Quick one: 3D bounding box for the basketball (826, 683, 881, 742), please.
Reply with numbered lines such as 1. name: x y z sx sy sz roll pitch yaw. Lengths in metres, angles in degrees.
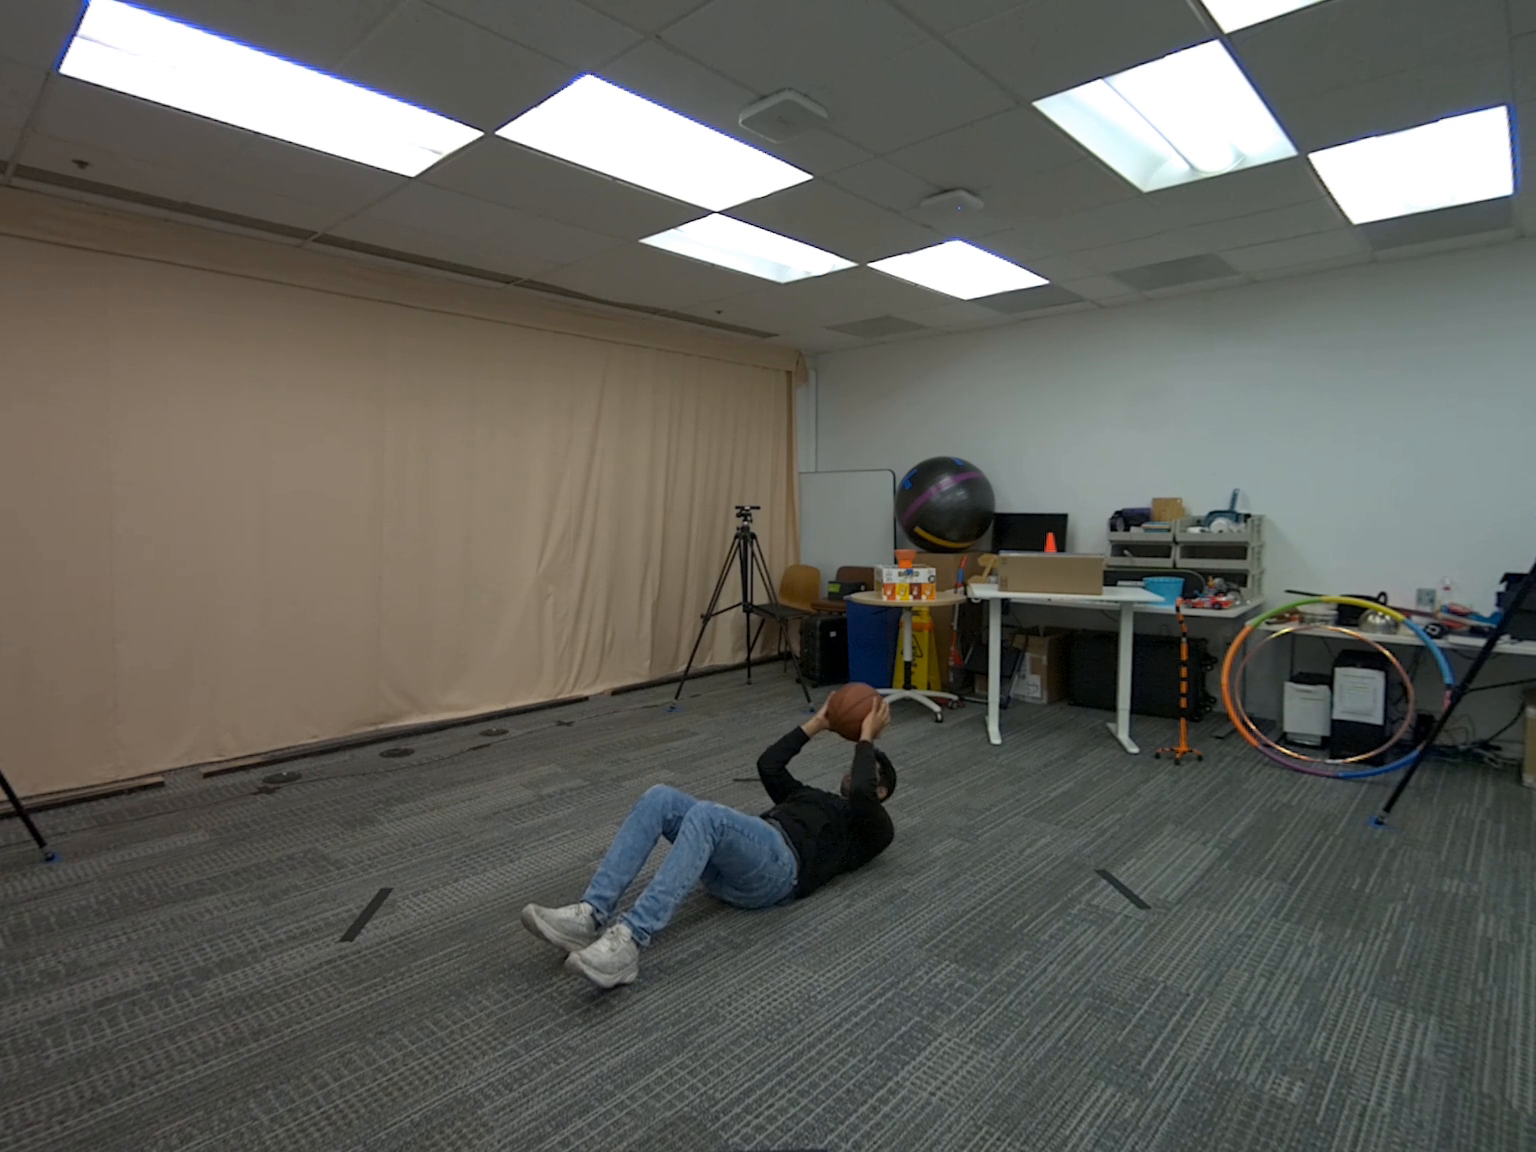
1. basketball: 0.360 0.567 3.436 0.236 0.235 0.237 0 4 -2
